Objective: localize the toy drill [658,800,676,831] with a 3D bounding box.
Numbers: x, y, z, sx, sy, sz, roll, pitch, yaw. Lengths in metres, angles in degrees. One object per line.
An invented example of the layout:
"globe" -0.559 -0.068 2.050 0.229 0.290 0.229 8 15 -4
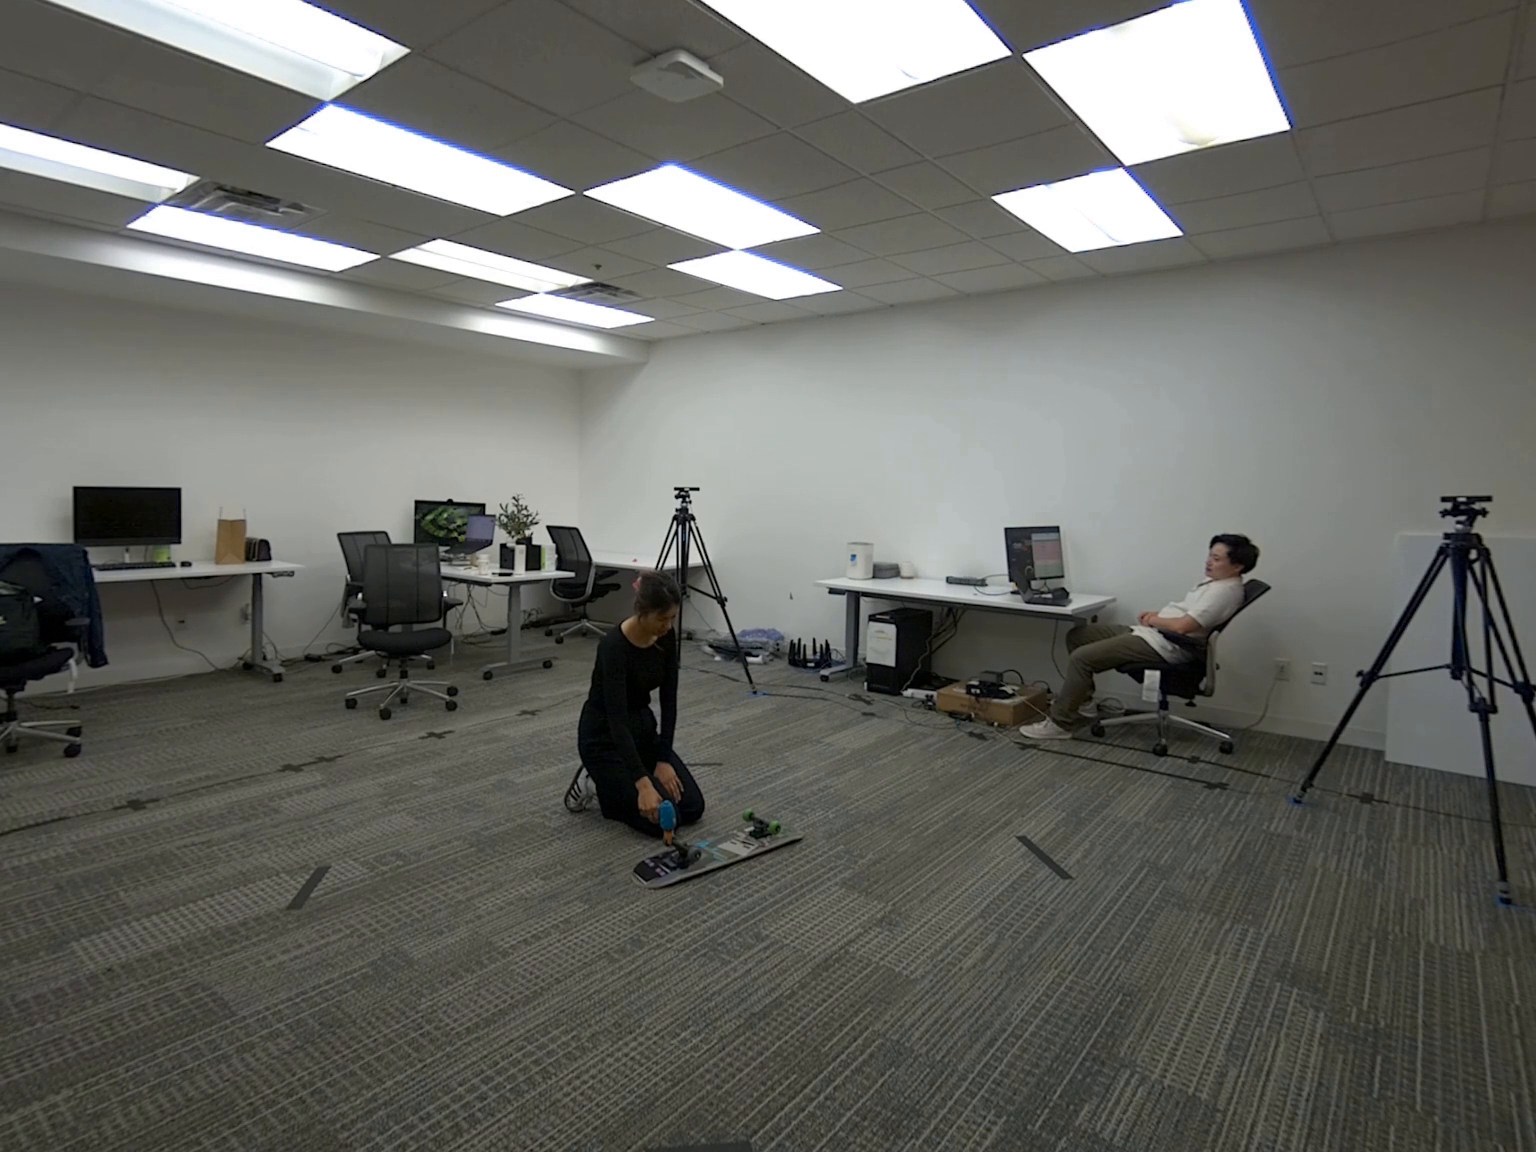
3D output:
"toy drill" -0.404 0.891 3.114 0.150 0.169 0.060 1 8 36
